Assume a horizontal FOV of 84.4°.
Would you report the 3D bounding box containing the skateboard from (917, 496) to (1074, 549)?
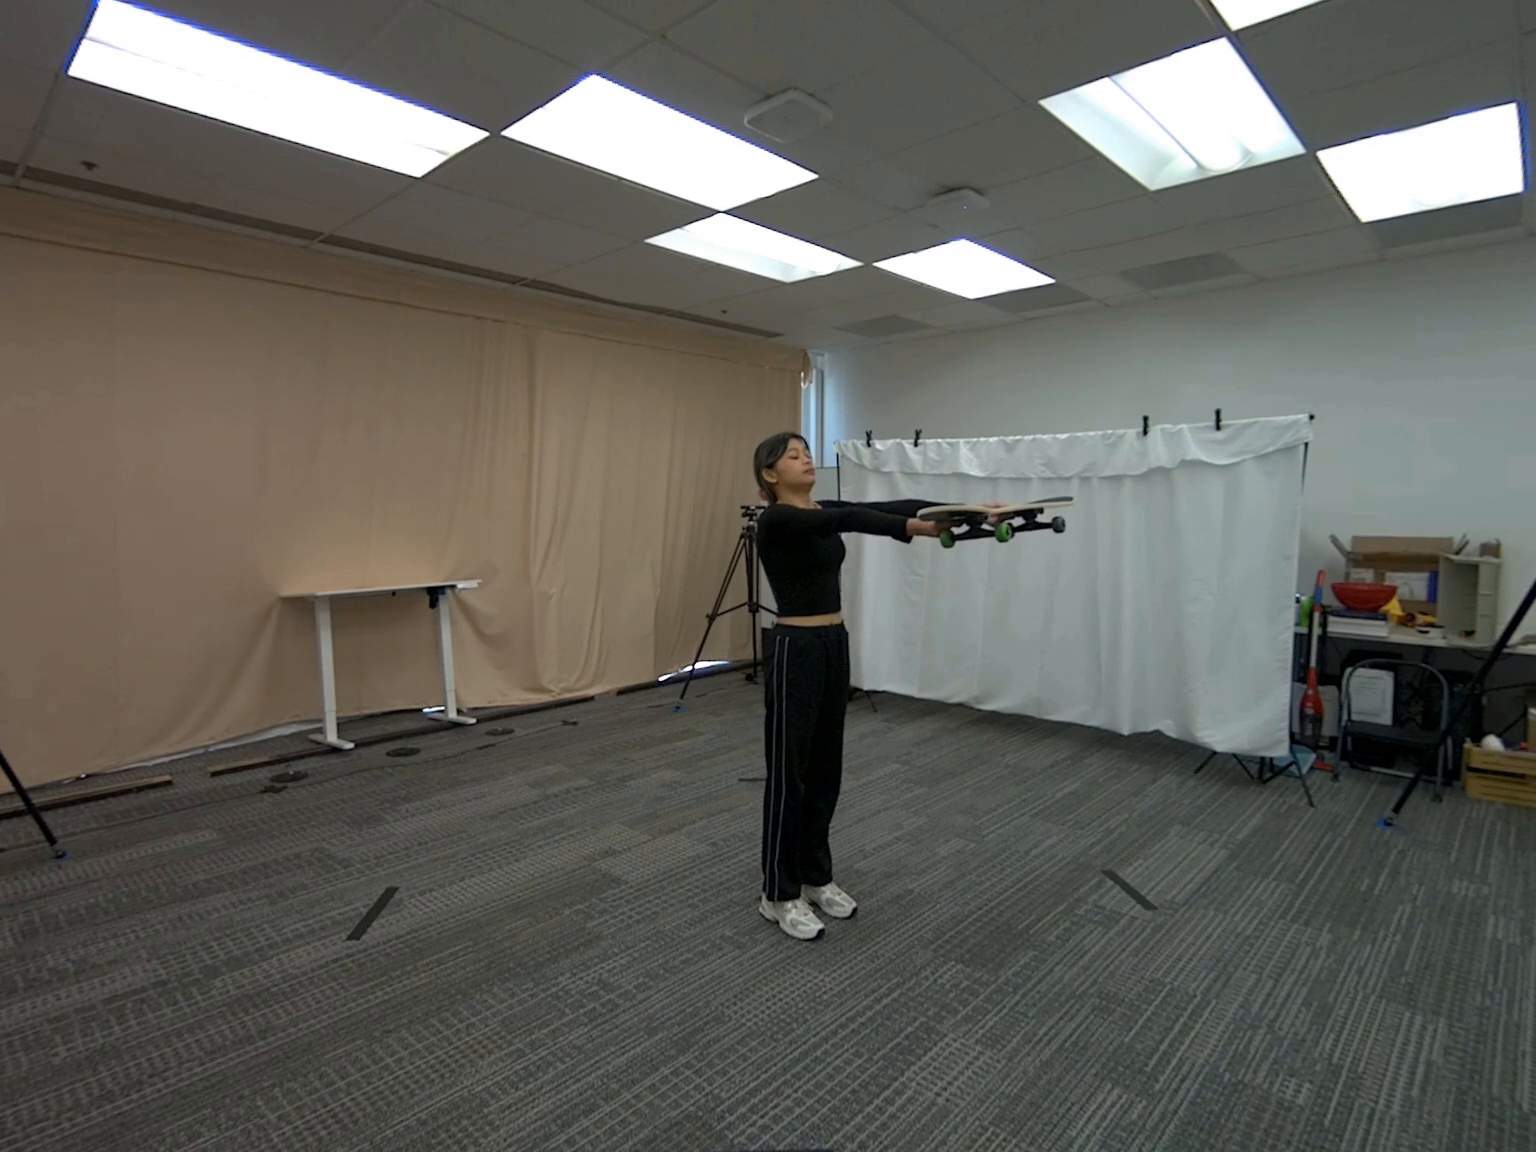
[{"bbox_3d":[0.664,-0.149,2.363,0.199,0.110,0.762,-5,2,41],"label":"skateboard"}]
